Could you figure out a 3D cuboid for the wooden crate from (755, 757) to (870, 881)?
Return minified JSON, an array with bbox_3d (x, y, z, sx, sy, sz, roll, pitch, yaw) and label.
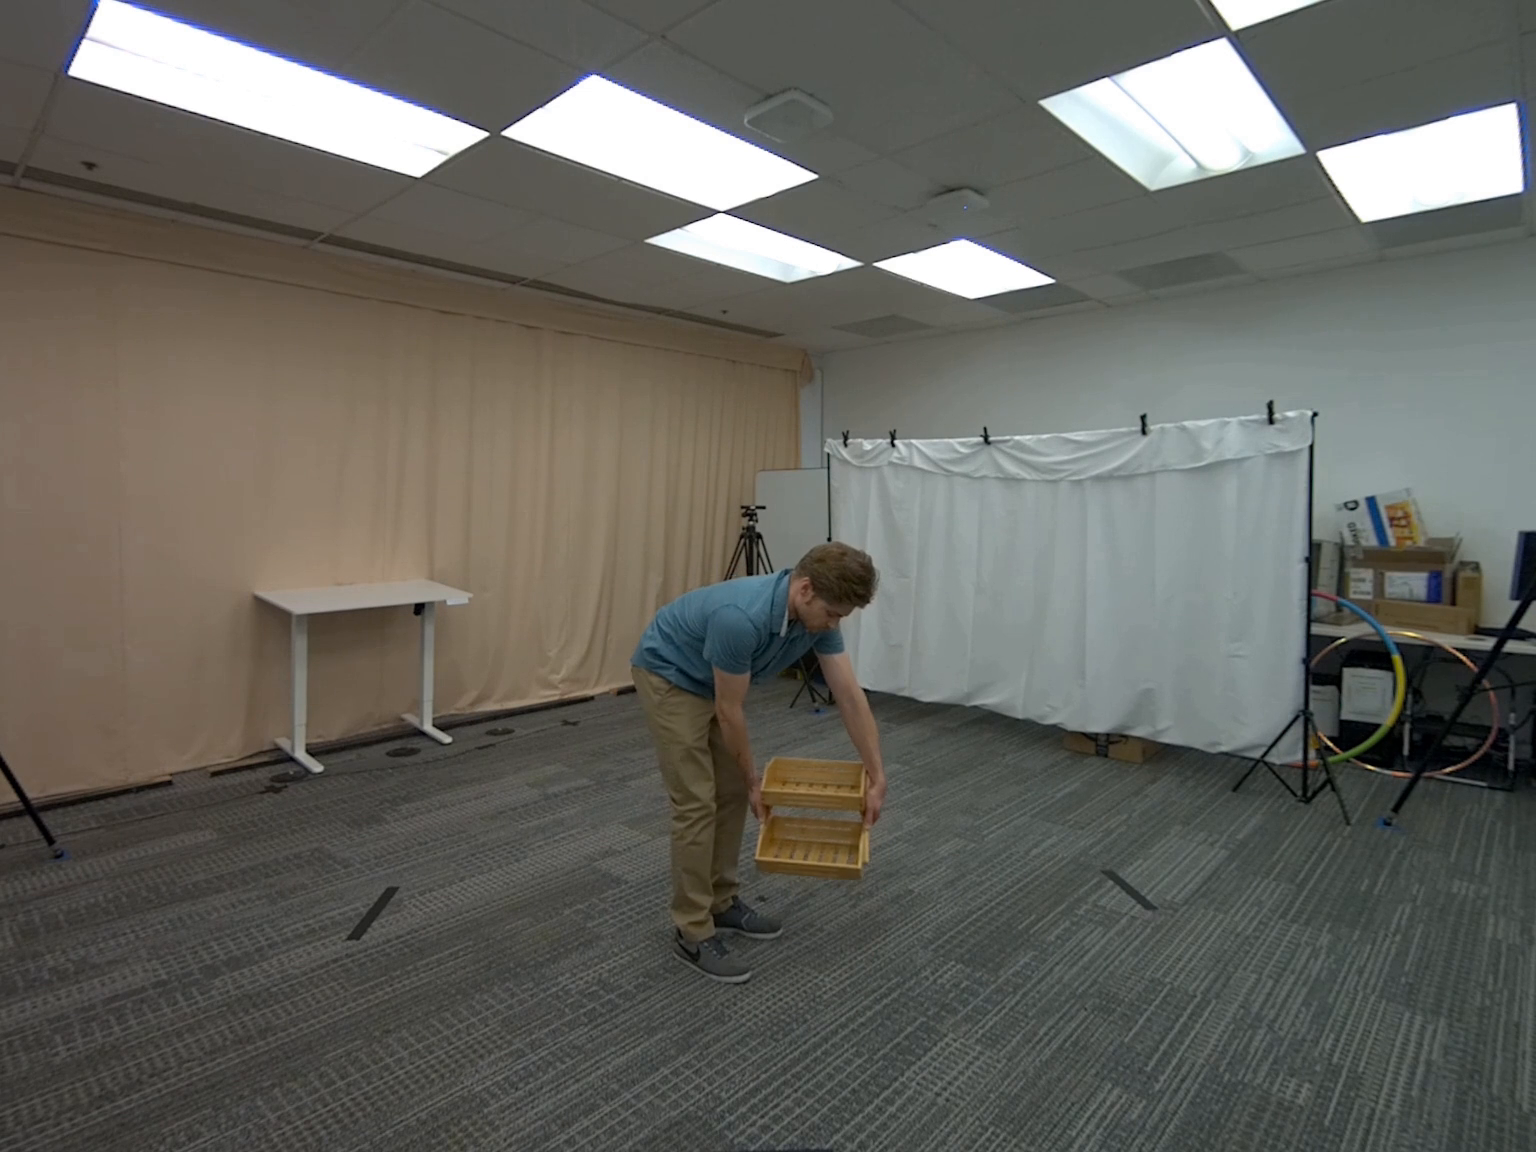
[{"bbox_3d":[0.143,0.731,2.496,0.329,0.273,0.298,0,2,12],"label":"wooden crate"}]
